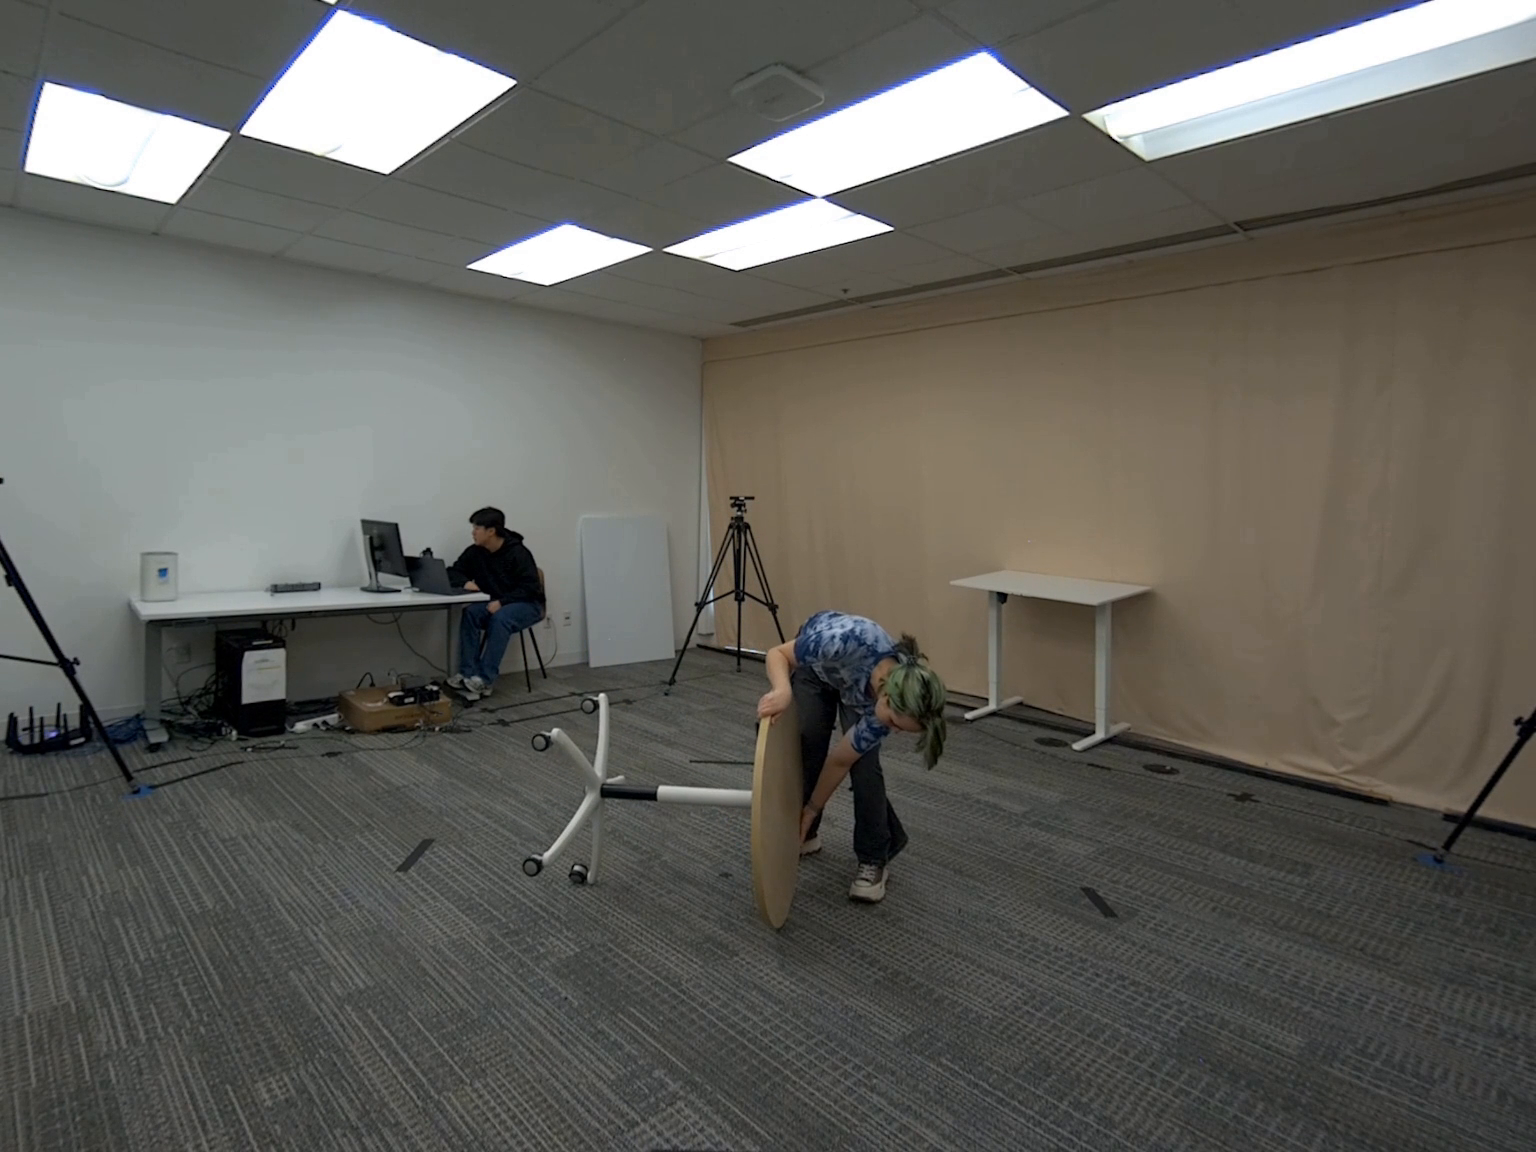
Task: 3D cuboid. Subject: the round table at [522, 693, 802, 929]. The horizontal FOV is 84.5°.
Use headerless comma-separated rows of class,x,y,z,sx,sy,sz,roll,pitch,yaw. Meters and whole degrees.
round table,-0.346,0.769,2.883,0.801,0.762,0.759,-1,4,11
